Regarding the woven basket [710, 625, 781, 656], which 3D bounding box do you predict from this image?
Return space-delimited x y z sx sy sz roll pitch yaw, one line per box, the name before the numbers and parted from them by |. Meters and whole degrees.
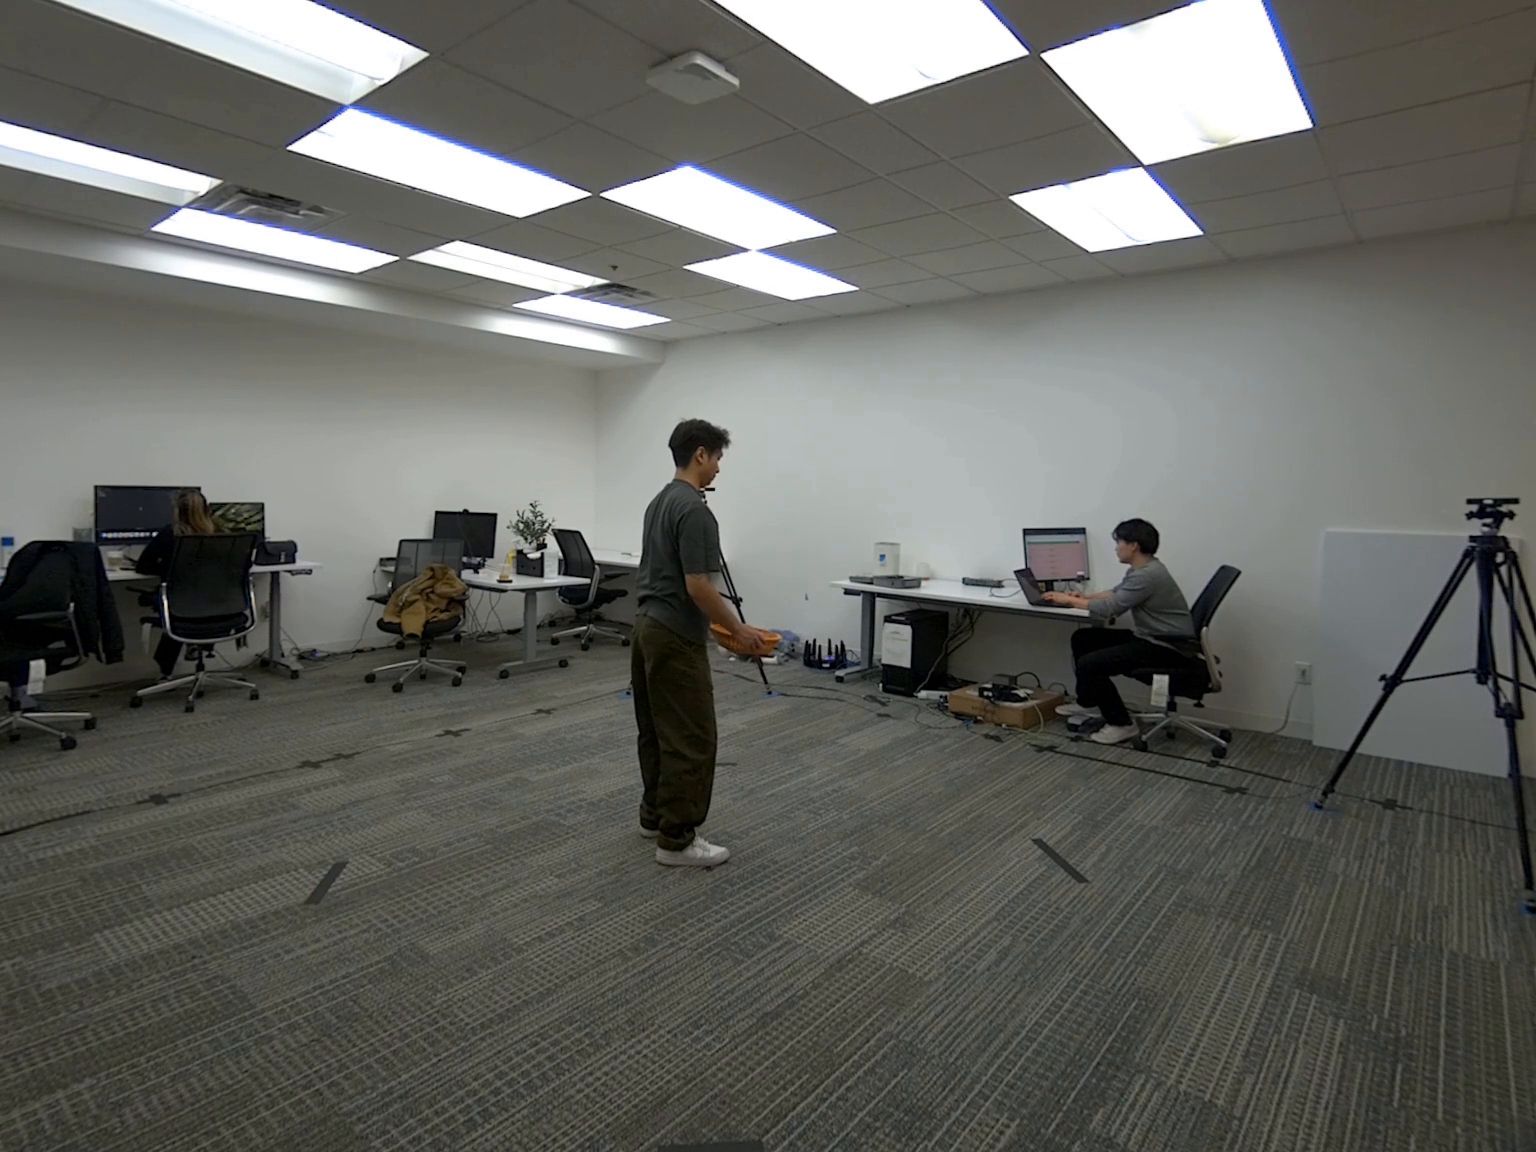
woven basket | -0.108 0.253 3.386 0.246 0.073 0.361 4 6 -26
